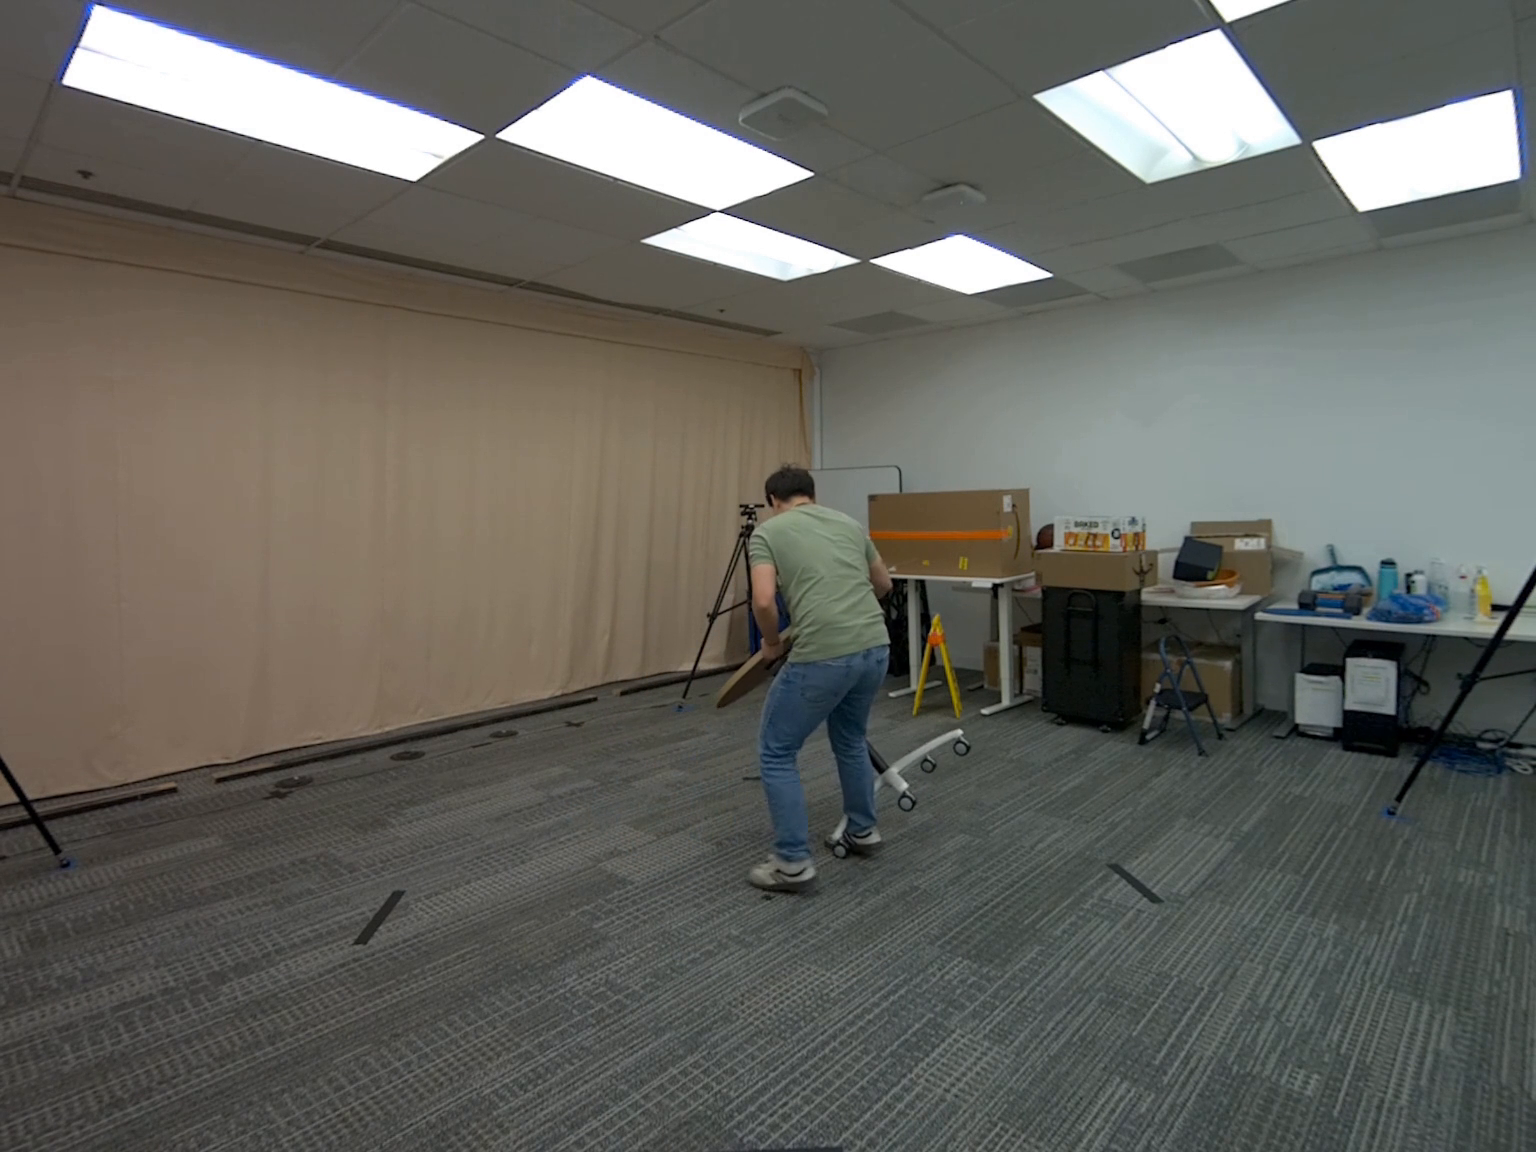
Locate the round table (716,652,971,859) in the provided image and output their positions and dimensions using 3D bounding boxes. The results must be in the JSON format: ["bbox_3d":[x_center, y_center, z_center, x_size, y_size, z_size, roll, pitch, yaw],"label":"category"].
[{"bbox_3d":[0.322,0.609,3.513,0.759,0.807,0.756,-36,-13,-12],"label":"round table"}]
